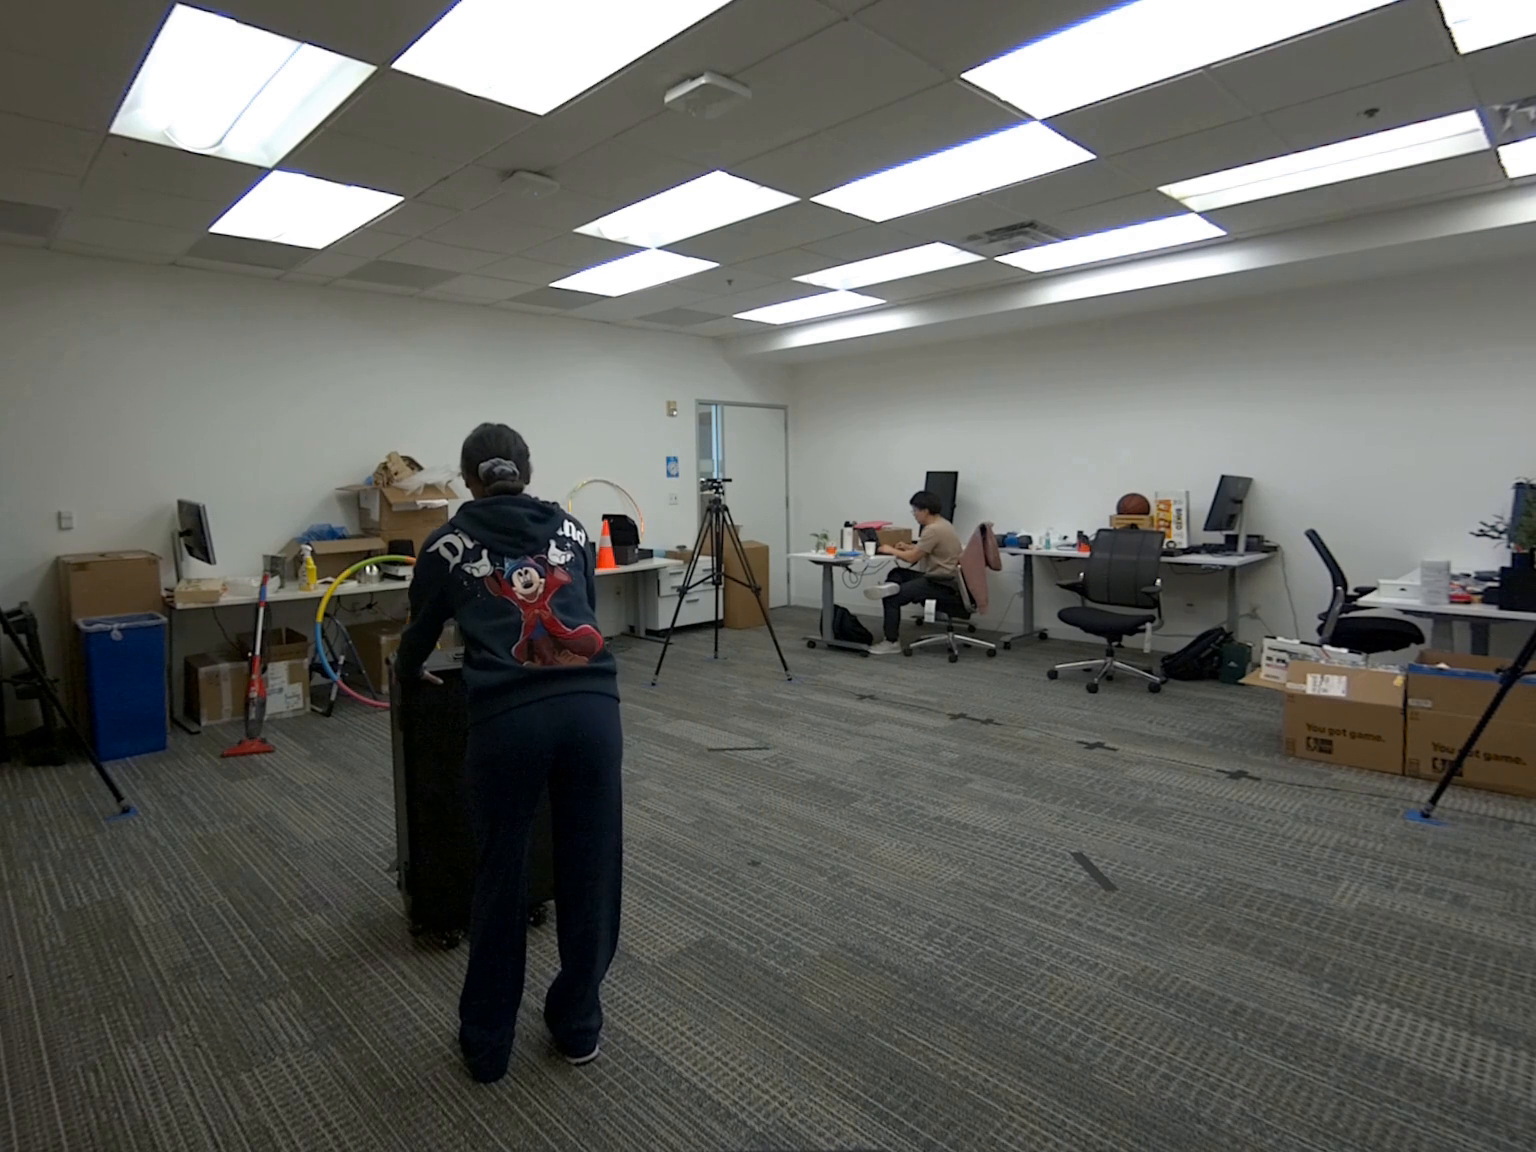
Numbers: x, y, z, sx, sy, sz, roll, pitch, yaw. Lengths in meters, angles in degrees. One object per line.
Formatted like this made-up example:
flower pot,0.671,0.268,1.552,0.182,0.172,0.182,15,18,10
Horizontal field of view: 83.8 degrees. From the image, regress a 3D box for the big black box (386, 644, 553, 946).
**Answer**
big black box,-0.943,0.676,2.766,0.509,0.859,0.406,-3,3,-28
